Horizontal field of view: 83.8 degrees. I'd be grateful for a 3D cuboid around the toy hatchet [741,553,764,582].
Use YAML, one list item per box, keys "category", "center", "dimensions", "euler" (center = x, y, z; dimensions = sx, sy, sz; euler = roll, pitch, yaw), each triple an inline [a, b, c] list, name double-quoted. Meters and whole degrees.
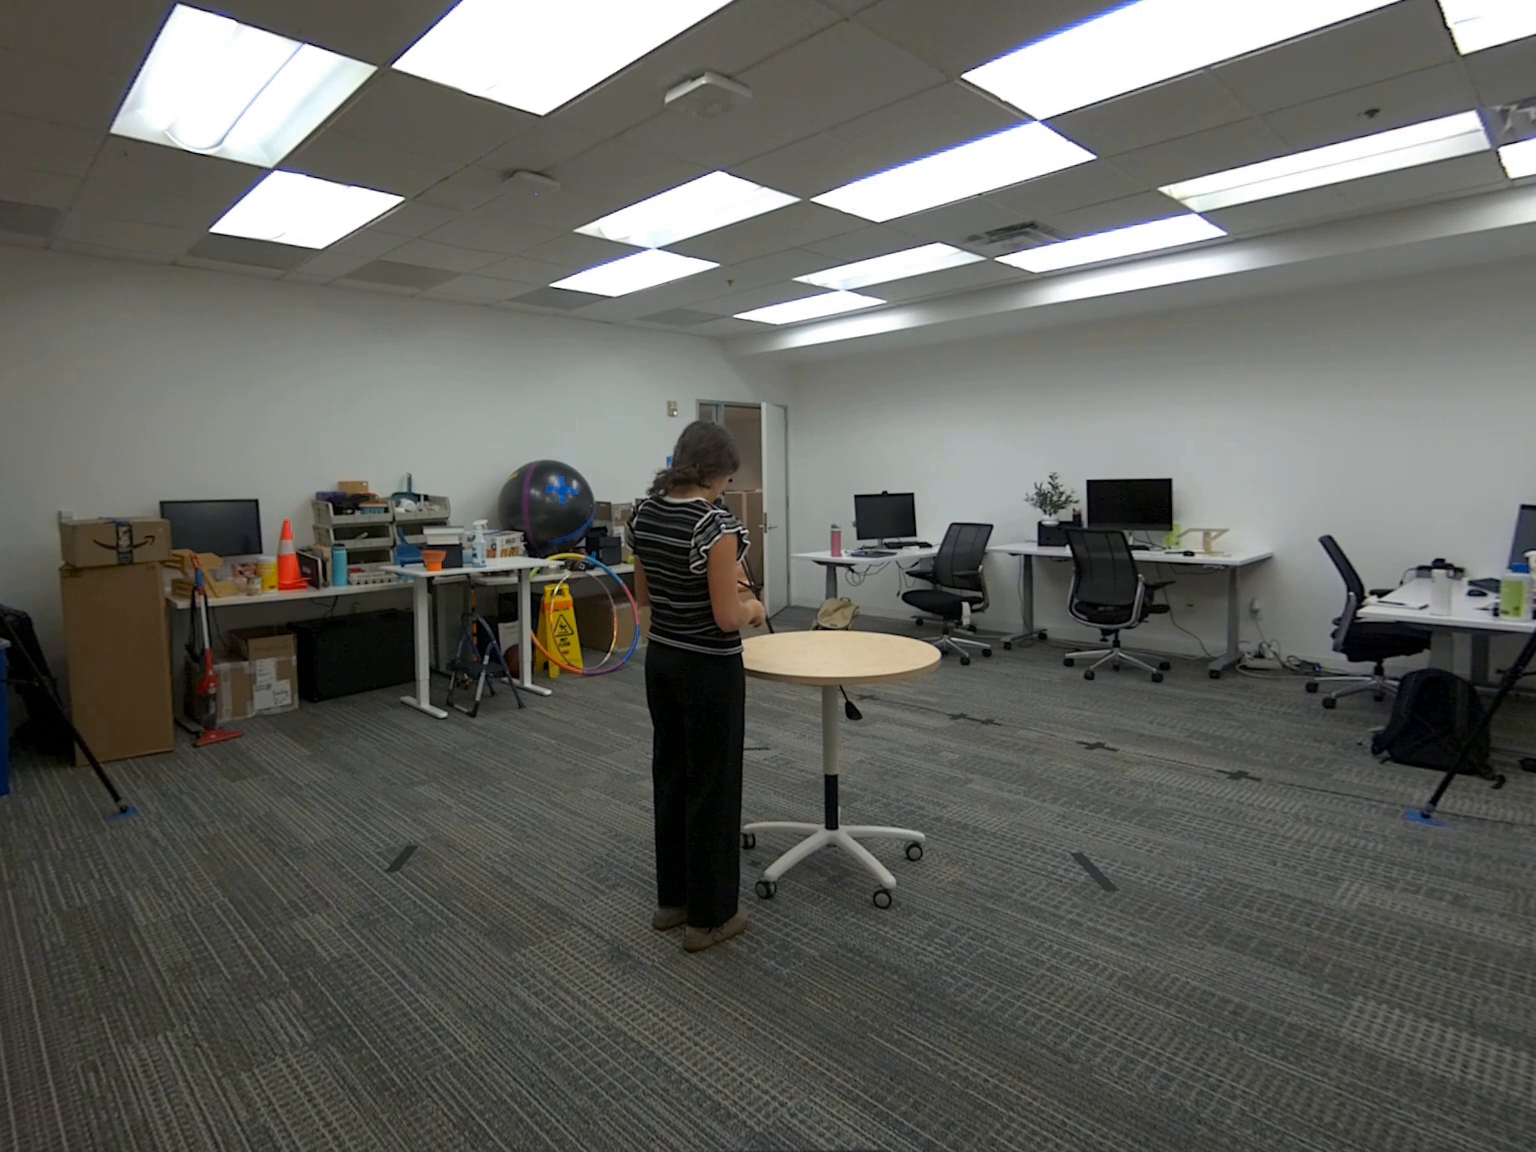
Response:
- category: "toy hatchet"
  center: [-0.133, 0.029, 2.936]
  dimensions: [0.128, 0.030, 0.269]
  euler: [-21, -22, -44]
